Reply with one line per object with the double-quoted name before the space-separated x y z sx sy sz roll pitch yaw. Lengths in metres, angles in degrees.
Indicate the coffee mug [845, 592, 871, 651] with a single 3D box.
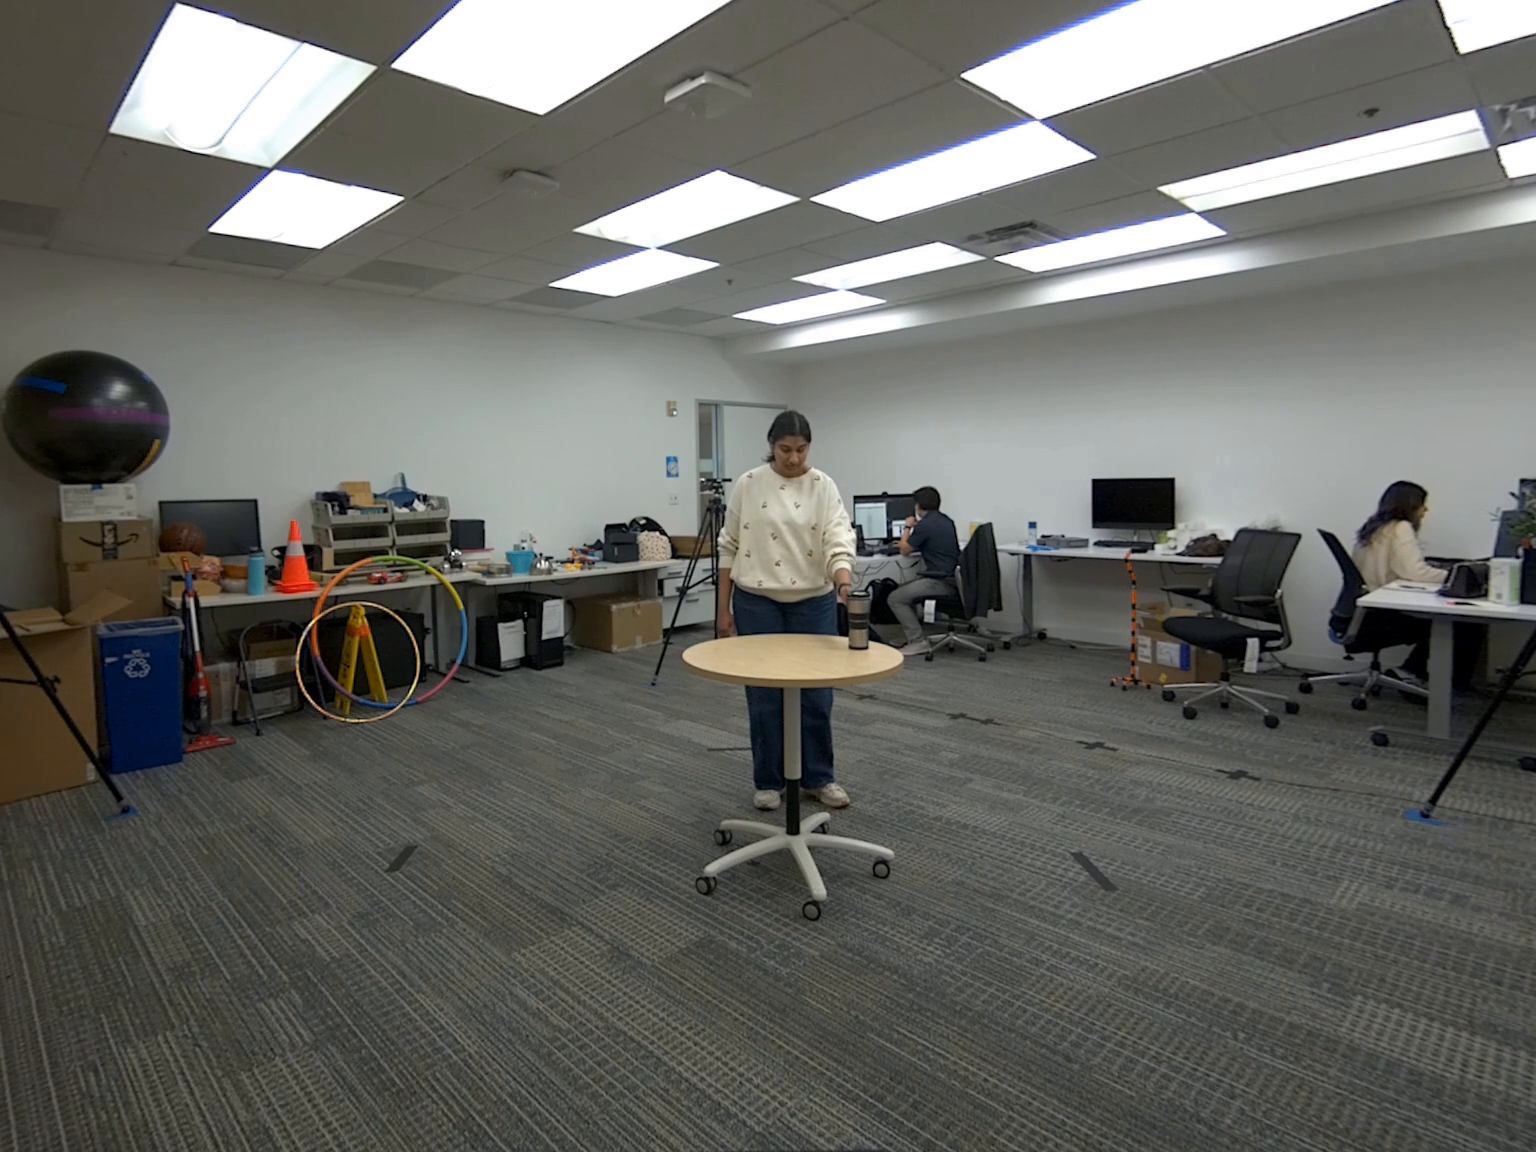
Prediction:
"coffee mug" 0.339 0.163 3.085 0.090 0.203 0.119 -6 0 45
